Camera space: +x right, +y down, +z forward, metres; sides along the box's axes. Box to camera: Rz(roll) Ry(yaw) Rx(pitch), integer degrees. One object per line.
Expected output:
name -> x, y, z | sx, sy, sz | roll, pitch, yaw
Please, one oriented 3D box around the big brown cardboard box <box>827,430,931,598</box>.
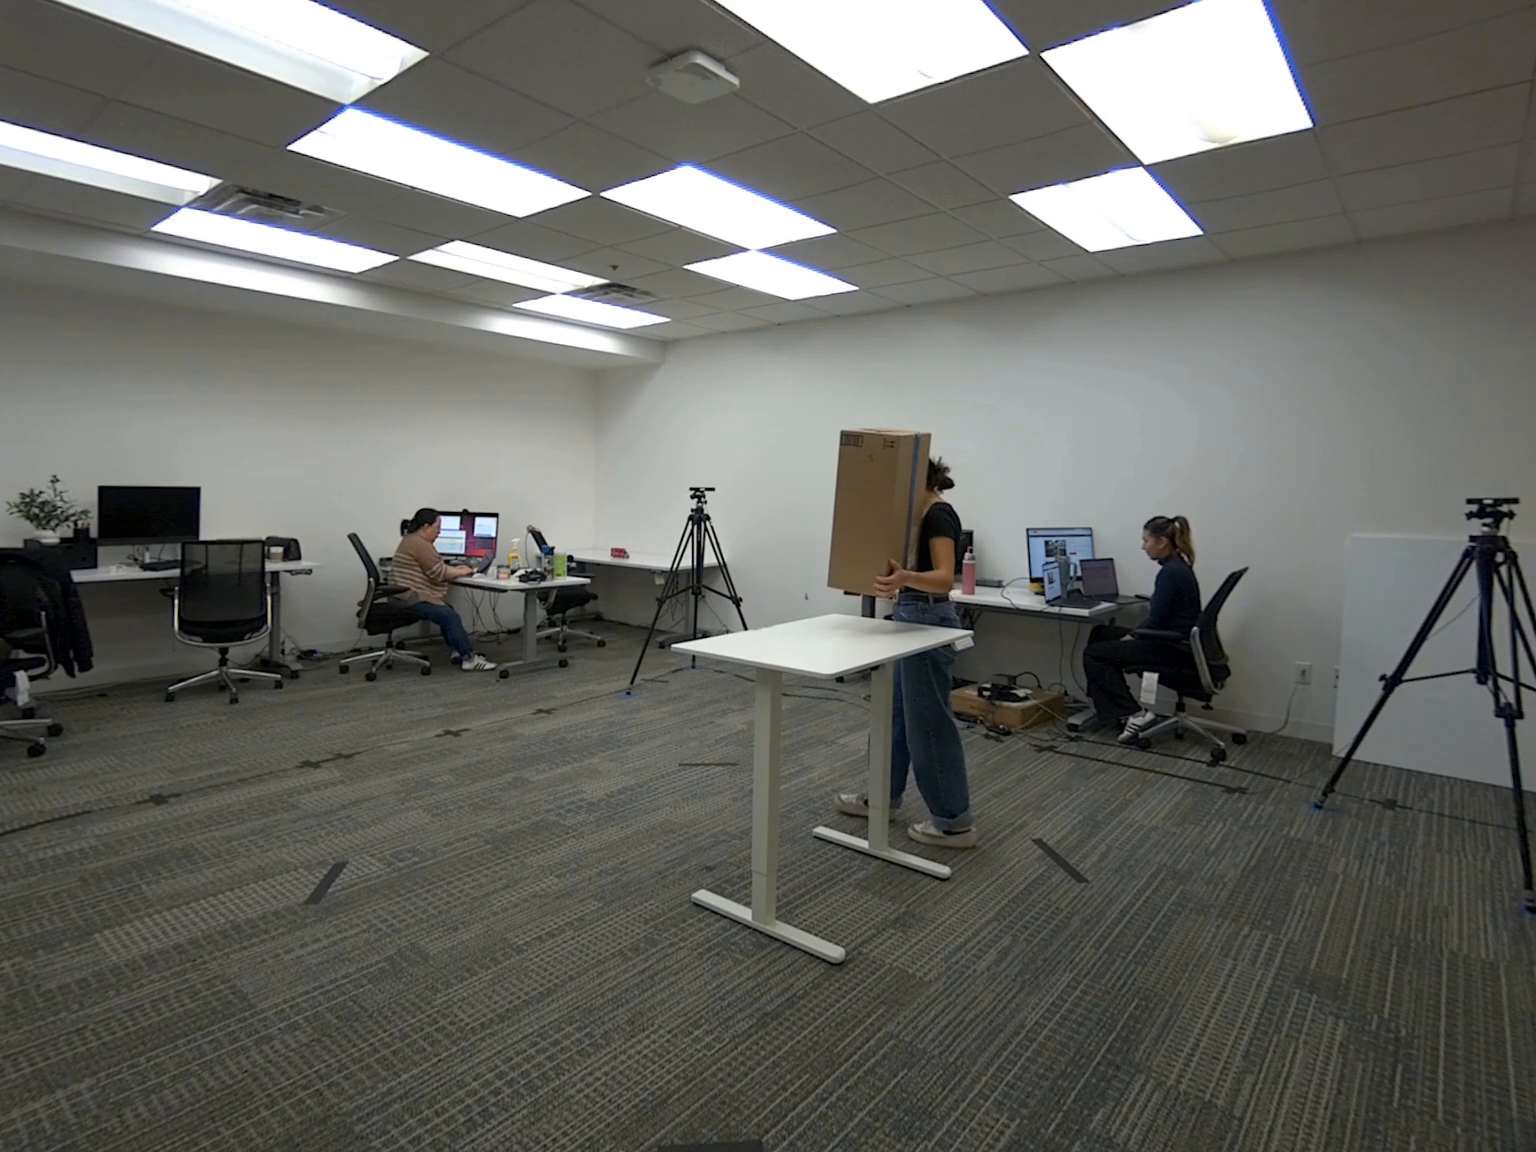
big brown cardboard box -> 0.406, -0.251, 3.139 | 0.240, 0.583, 0.410 | 8, 12, 25
